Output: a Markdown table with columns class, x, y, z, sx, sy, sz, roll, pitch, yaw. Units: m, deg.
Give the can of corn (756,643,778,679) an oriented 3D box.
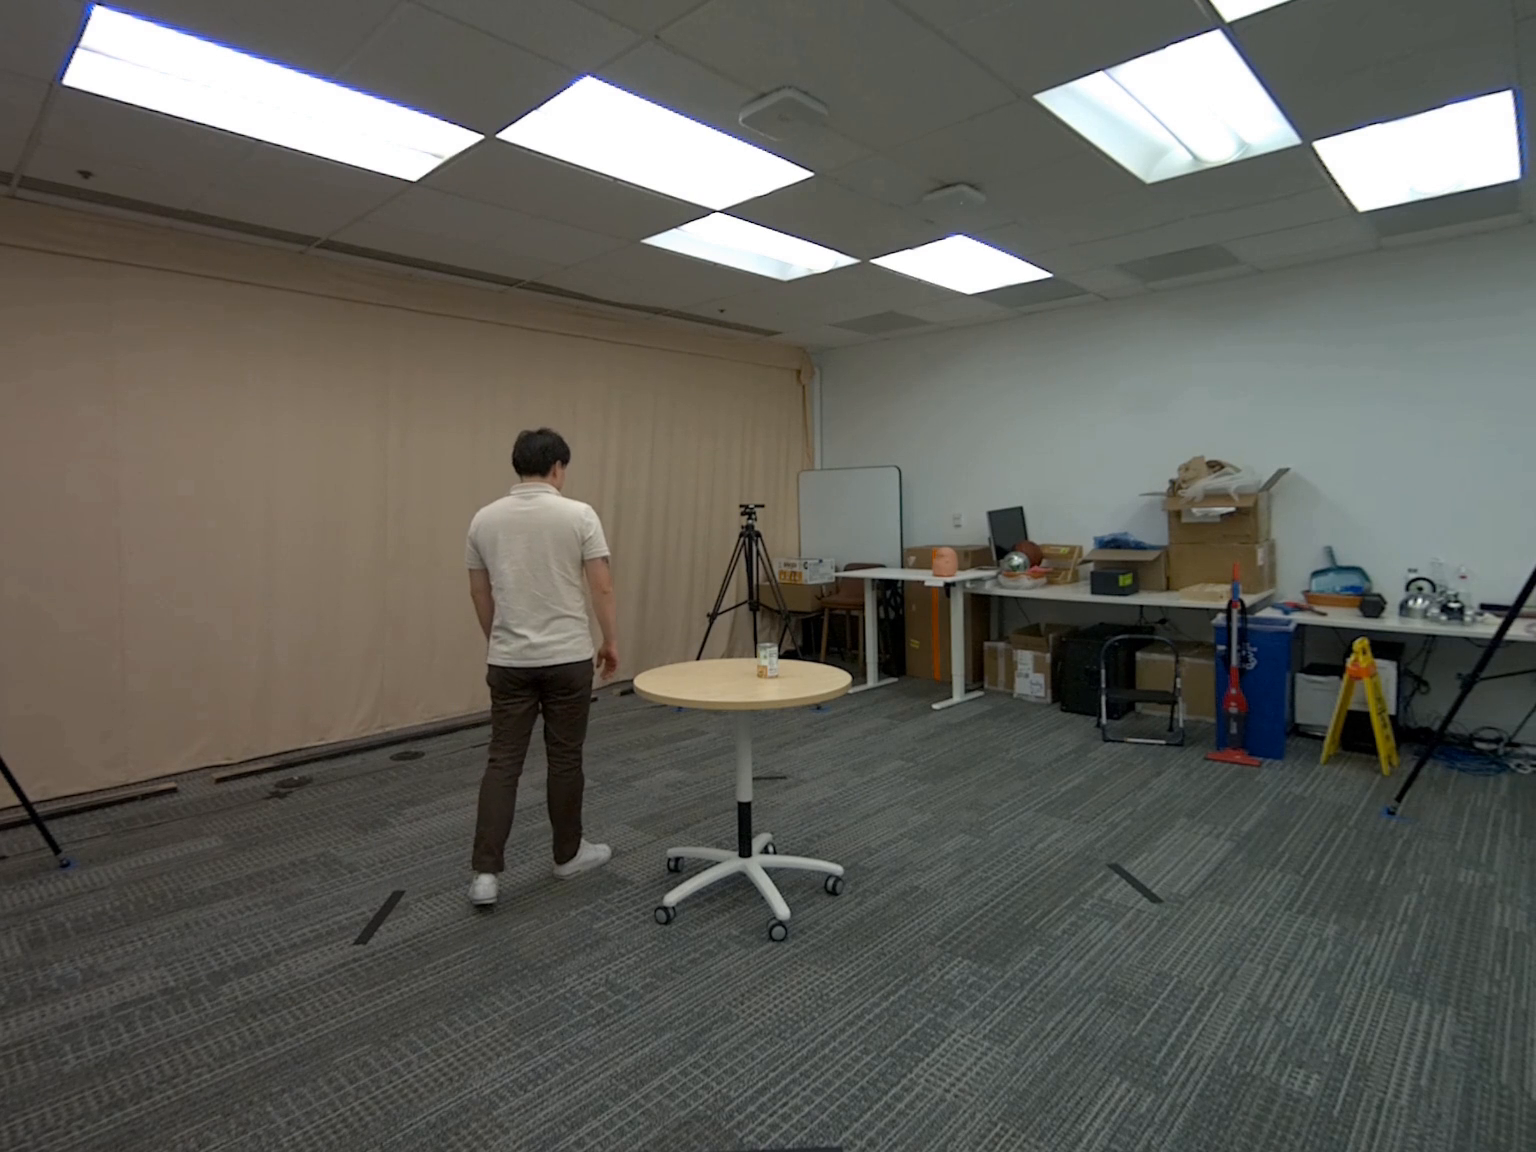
| class | x | y | z | sx | sy | sz | roll | pitch | yaw |
| --- | --- | --- | --- | --- | --- | --- | --- | --- | --- |
| can of corn | 0.002 | 0.300 | 2.978 | 0.074 | 0.111 | 0.074 | 2 | 2 | -2 |
